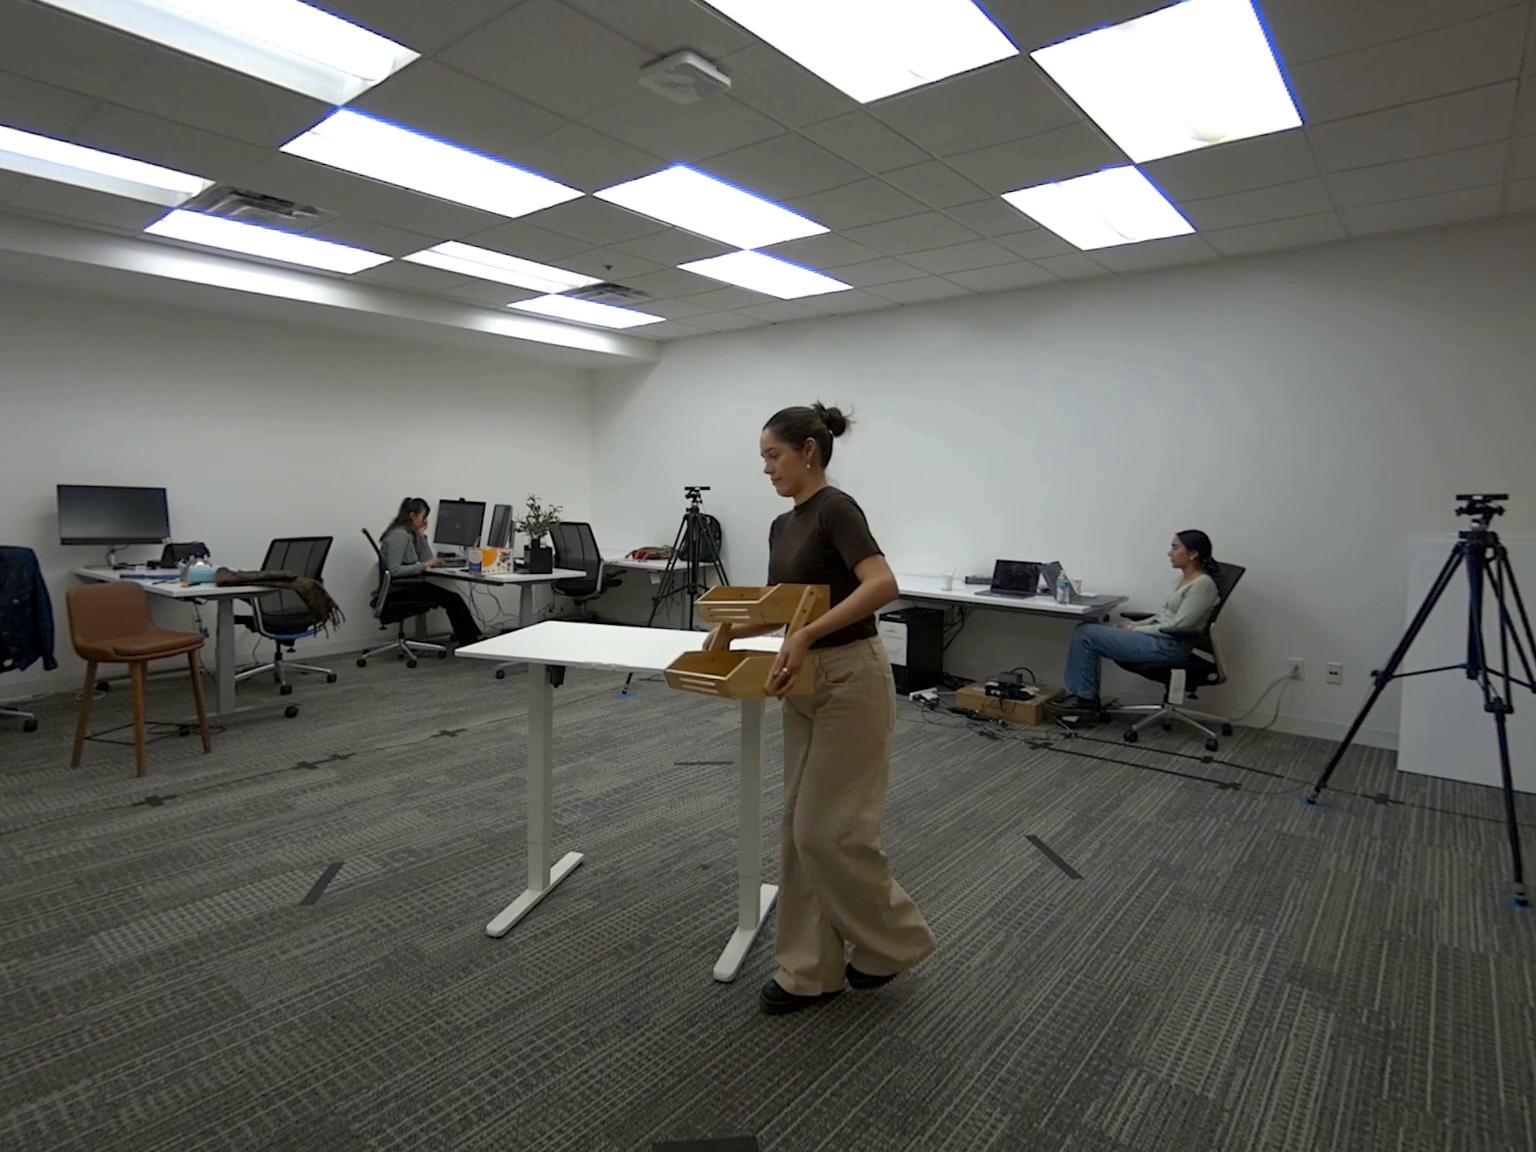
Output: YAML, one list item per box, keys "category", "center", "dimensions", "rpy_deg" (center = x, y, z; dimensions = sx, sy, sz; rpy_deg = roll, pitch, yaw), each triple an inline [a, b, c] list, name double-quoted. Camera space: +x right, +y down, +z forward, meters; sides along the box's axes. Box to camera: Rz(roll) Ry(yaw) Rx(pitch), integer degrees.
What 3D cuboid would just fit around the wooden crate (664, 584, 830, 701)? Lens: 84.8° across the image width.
- category: "wooden crate"
  center: [-0.070, 0.147, 2.116]
  dimensions: [0.293, 0.274, 0.333]
  rpy_deg: [3, -3, -34]
